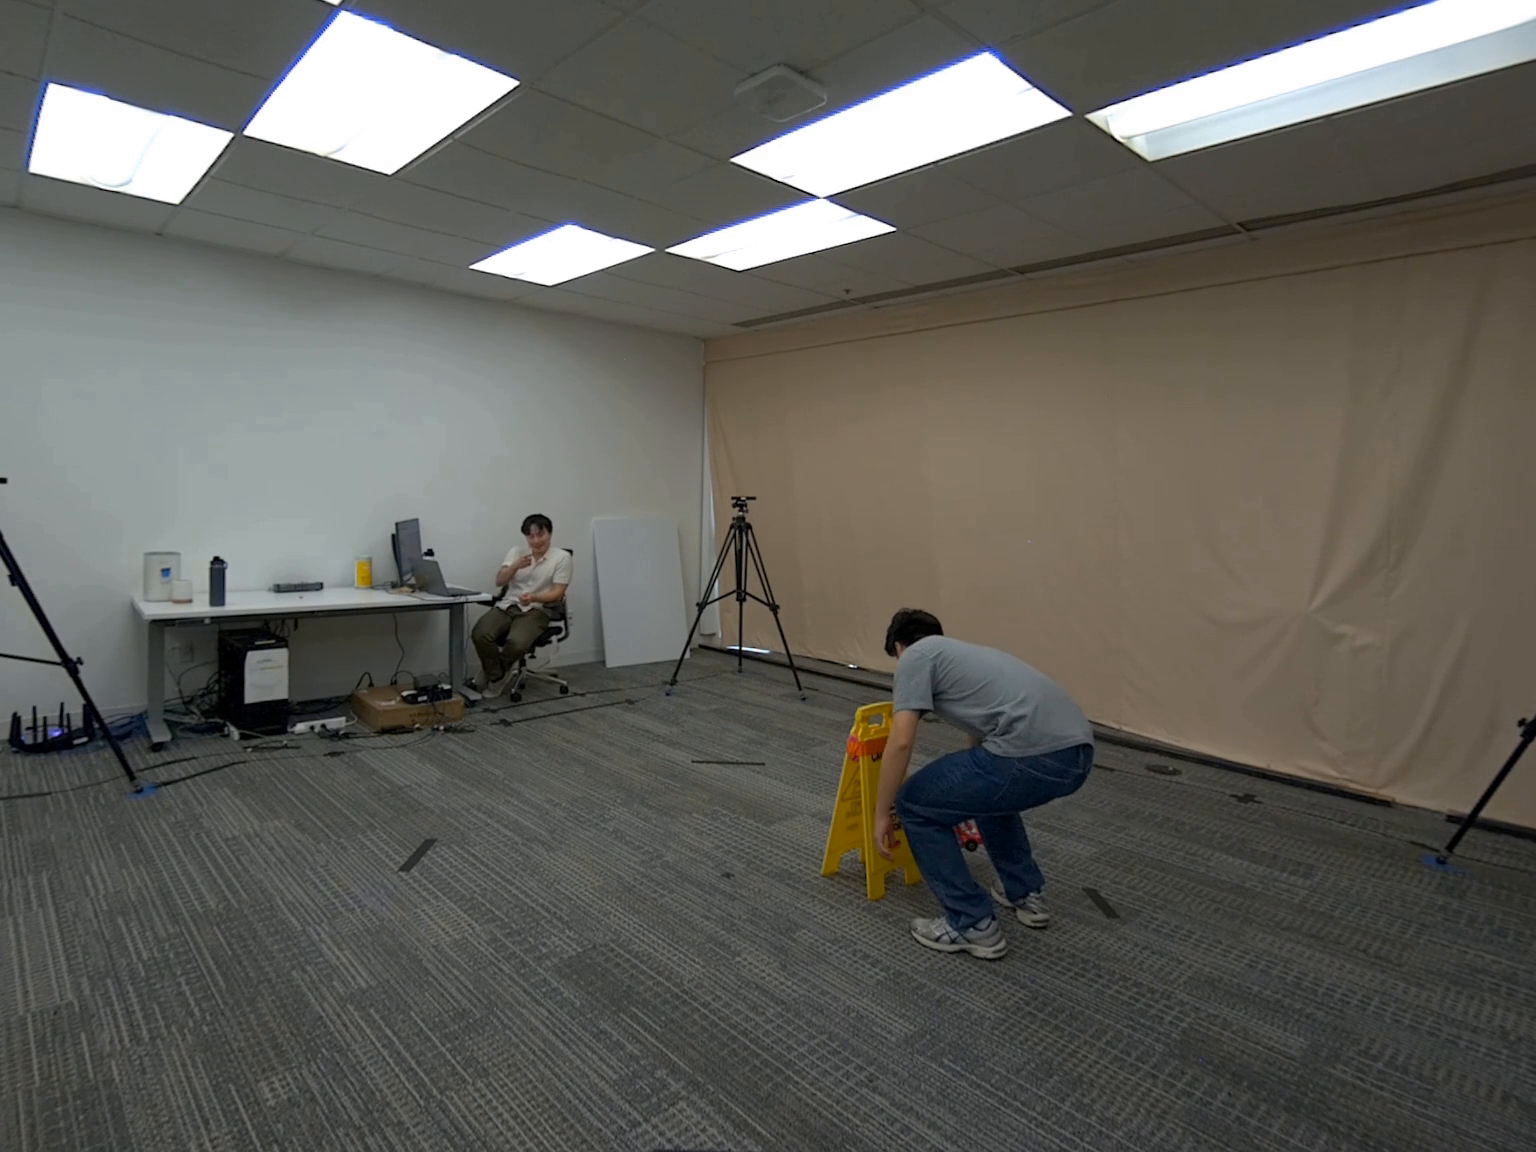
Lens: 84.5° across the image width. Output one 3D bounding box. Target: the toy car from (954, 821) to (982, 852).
[{"bbox_3d":[0.707,1.015,3.227,0.254,0.083,0.131,-14,8,-1],"label":"toy car"}]
